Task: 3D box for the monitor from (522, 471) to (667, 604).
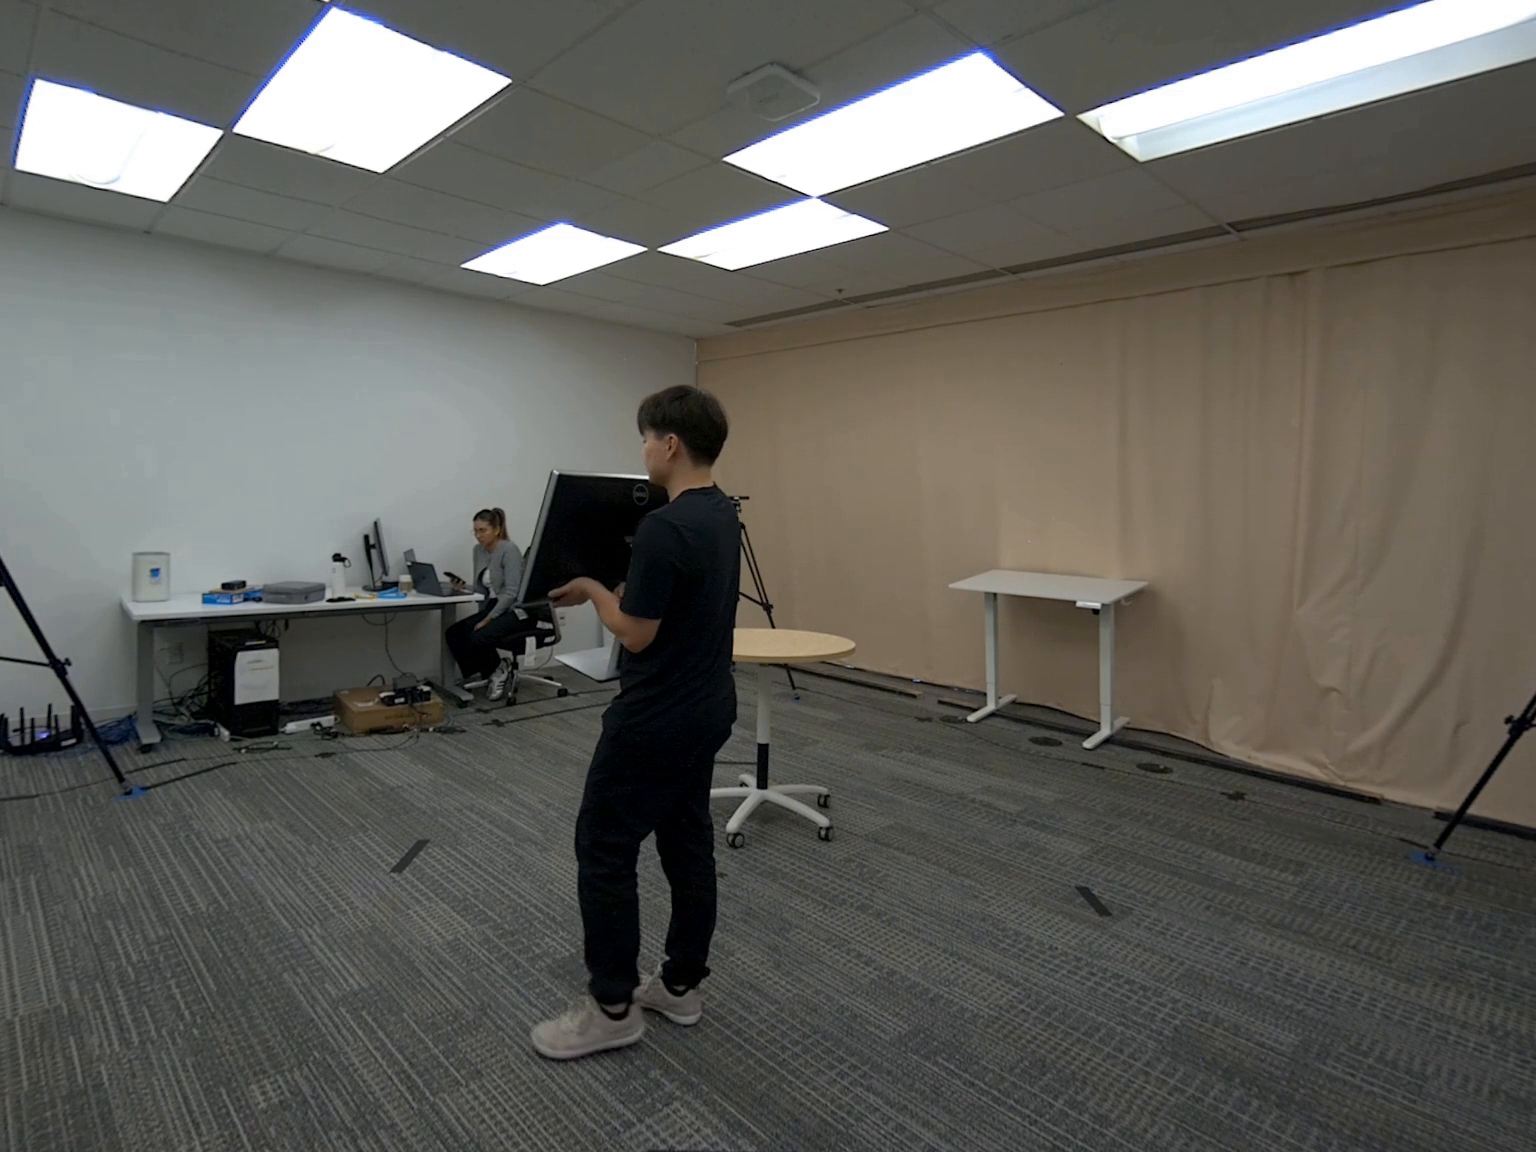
[{"bbox_3d":[-0.402,-0.009,2.314,0.192,0.520,0.527,16,11,36],"label":"monitor"}]
